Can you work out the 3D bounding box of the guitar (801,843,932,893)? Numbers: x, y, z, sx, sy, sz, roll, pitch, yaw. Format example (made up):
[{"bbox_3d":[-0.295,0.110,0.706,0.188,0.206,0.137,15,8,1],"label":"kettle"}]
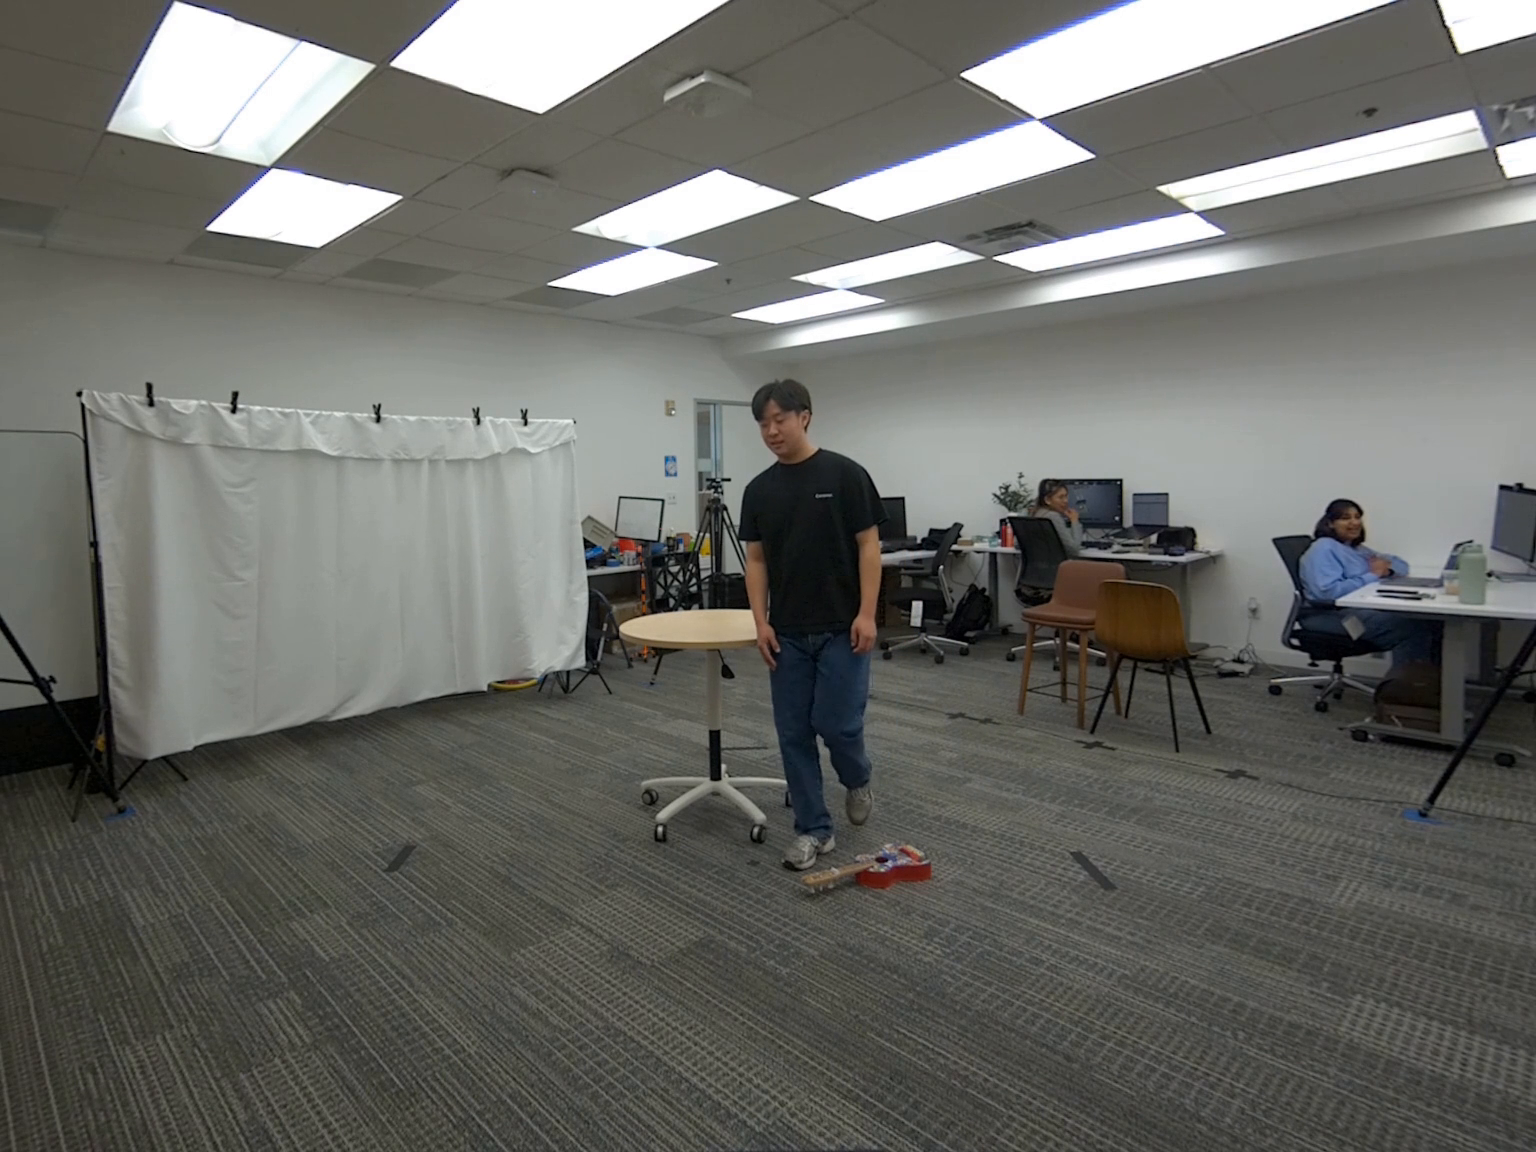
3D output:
[{"bbox_3d":[0.322,1.018,2.969,0.489,0.070,0.197,-3,7,-20],"label":"guitar"}]
